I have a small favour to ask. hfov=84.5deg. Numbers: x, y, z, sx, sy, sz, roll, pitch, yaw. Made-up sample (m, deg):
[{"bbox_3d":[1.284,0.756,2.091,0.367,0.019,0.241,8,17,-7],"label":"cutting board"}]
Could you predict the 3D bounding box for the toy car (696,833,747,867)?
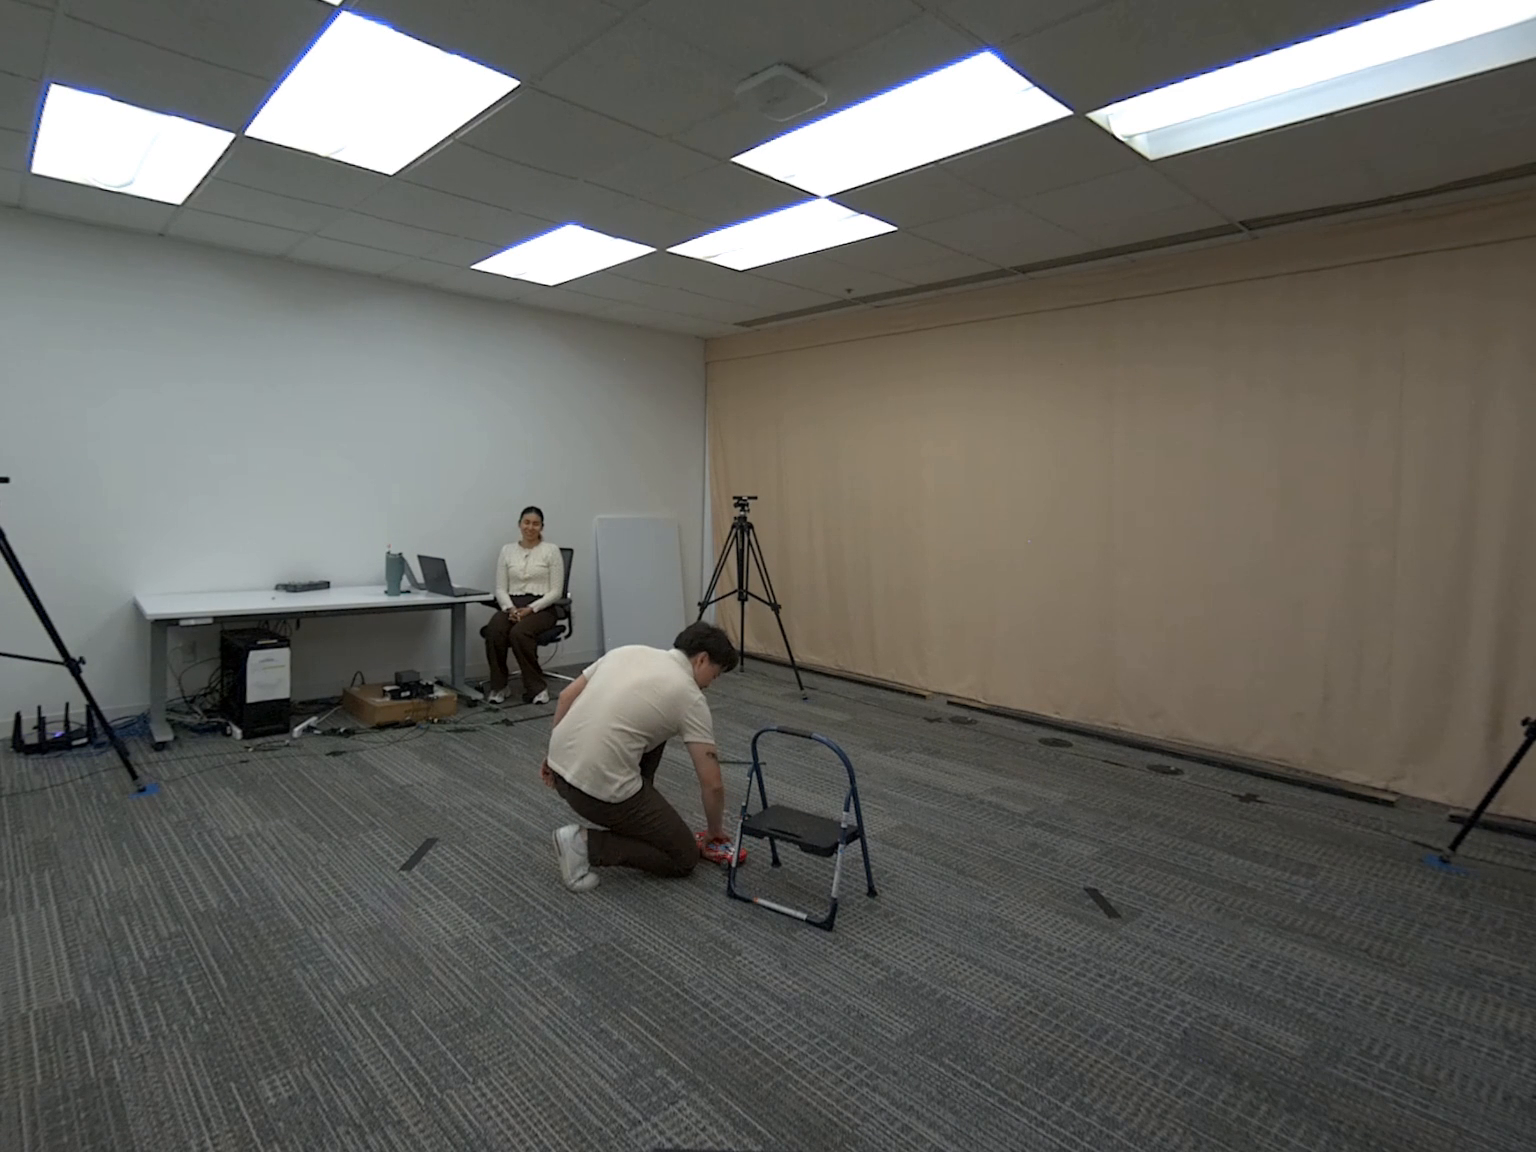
[{"bbox_3d":[-0.206,1.056,3.255,0.262,0.083,0.127,21,15,37],"label":"toy car"}]
